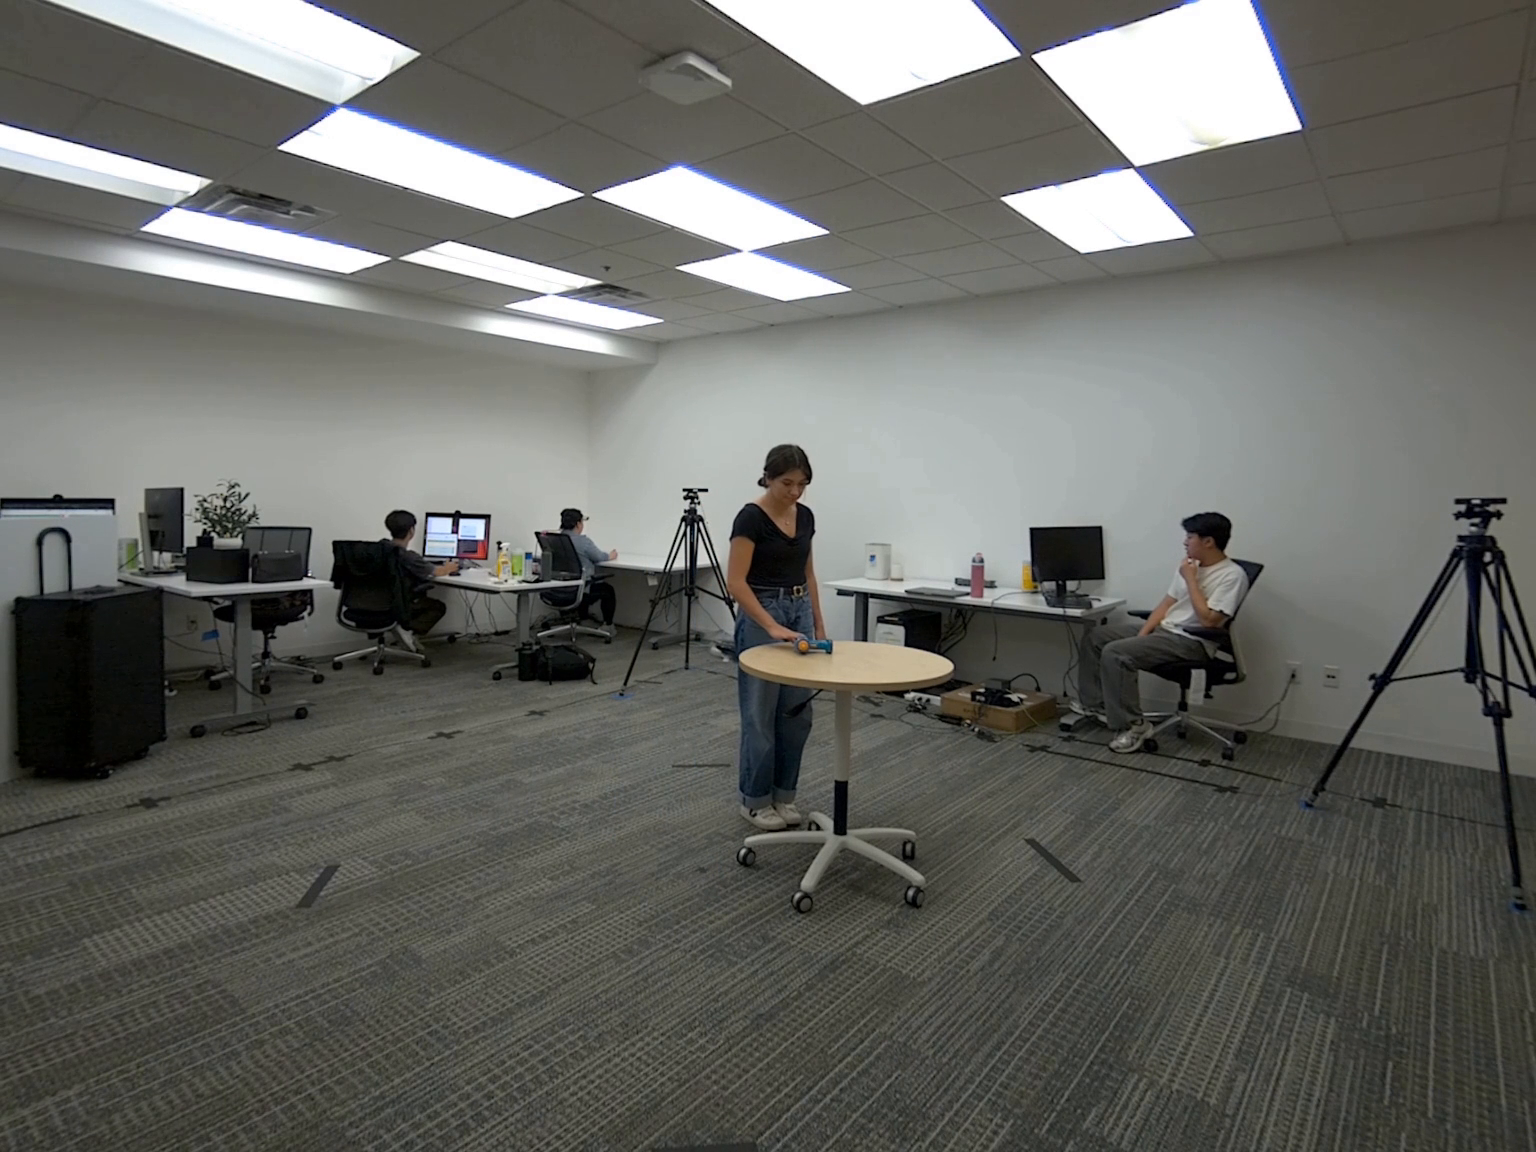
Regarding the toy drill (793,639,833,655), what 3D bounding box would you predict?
[{"bbox_3d":[0.170,0.250,3.172,0.146,0.061,0.169,2,-2,0],"label":"toy drill"}]
